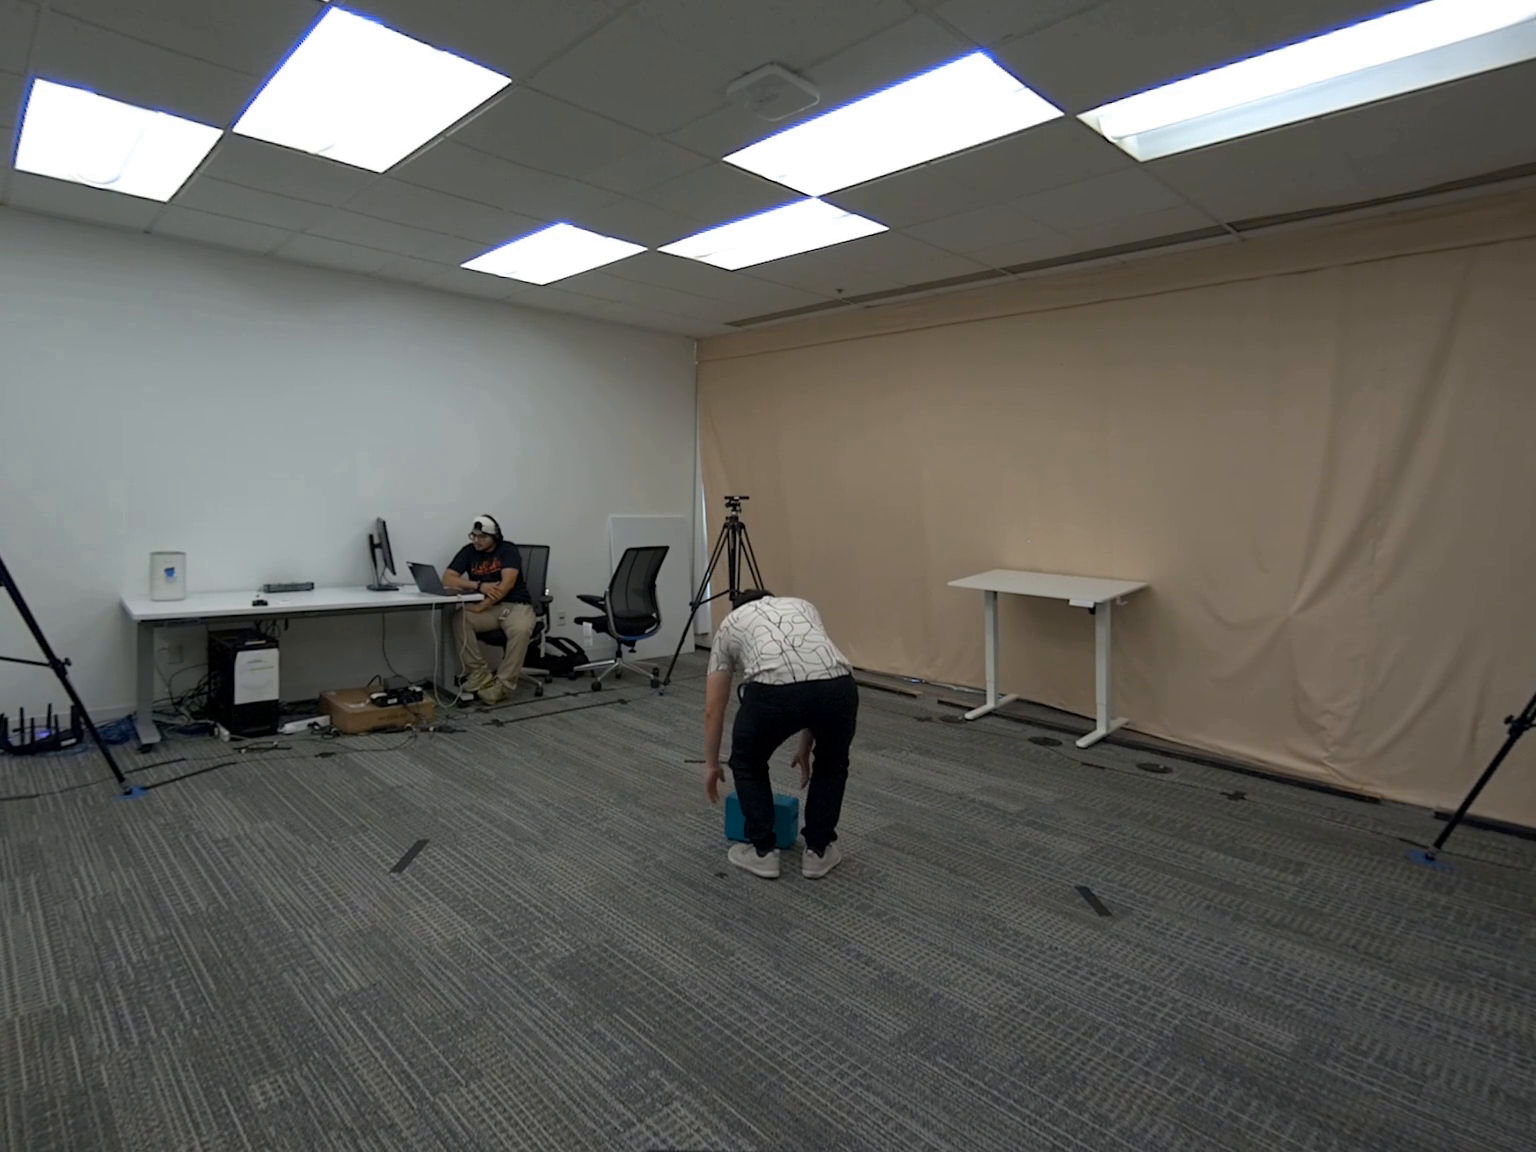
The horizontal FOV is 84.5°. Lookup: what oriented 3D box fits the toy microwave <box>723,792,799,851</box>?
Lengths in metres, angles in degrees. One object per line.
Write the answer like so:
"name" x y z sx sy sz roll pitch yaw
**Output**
"toy microwave" -0.028 0.982 3.434 0.291 0.184 0.150 4 4 22
